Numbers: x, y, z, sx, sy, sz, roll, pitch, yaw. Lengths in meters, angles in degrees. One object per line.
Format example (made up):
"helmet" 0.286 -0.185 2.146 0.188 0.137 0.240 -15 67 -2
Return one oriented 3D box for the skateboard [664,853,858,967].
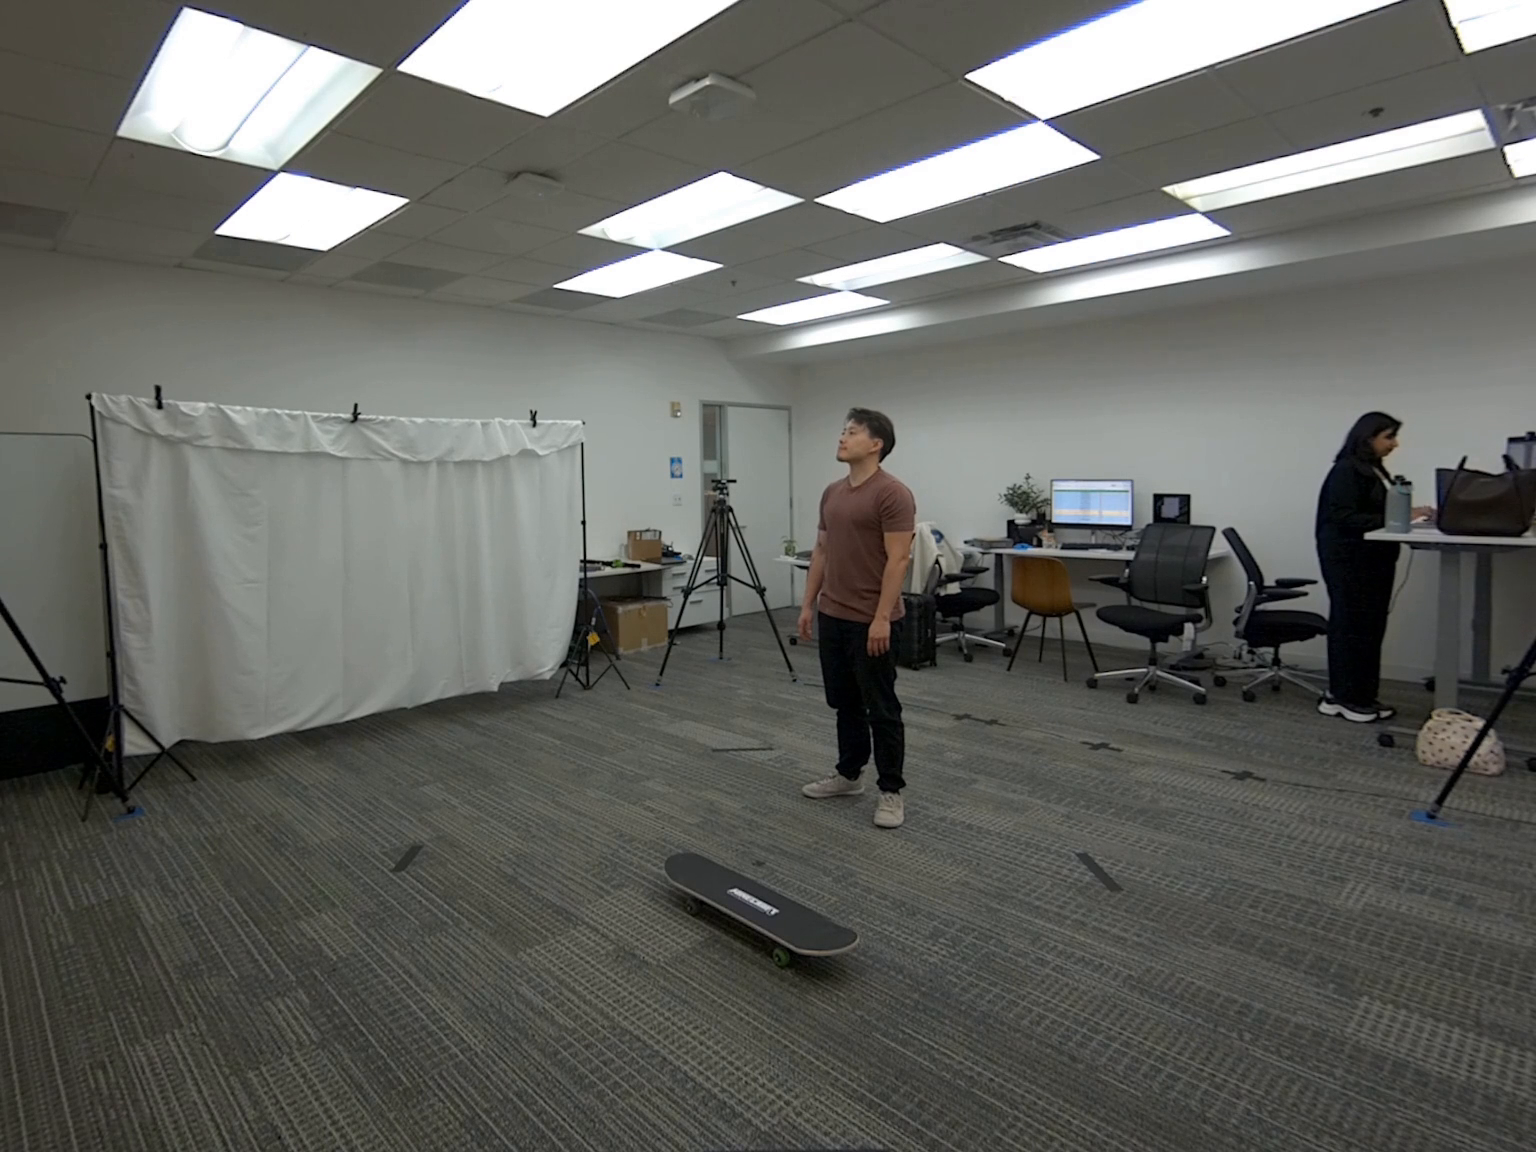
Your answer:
"skateboard" -0.042 1.047 2.652 0.188 0.110 0.810 -5 7 -43
